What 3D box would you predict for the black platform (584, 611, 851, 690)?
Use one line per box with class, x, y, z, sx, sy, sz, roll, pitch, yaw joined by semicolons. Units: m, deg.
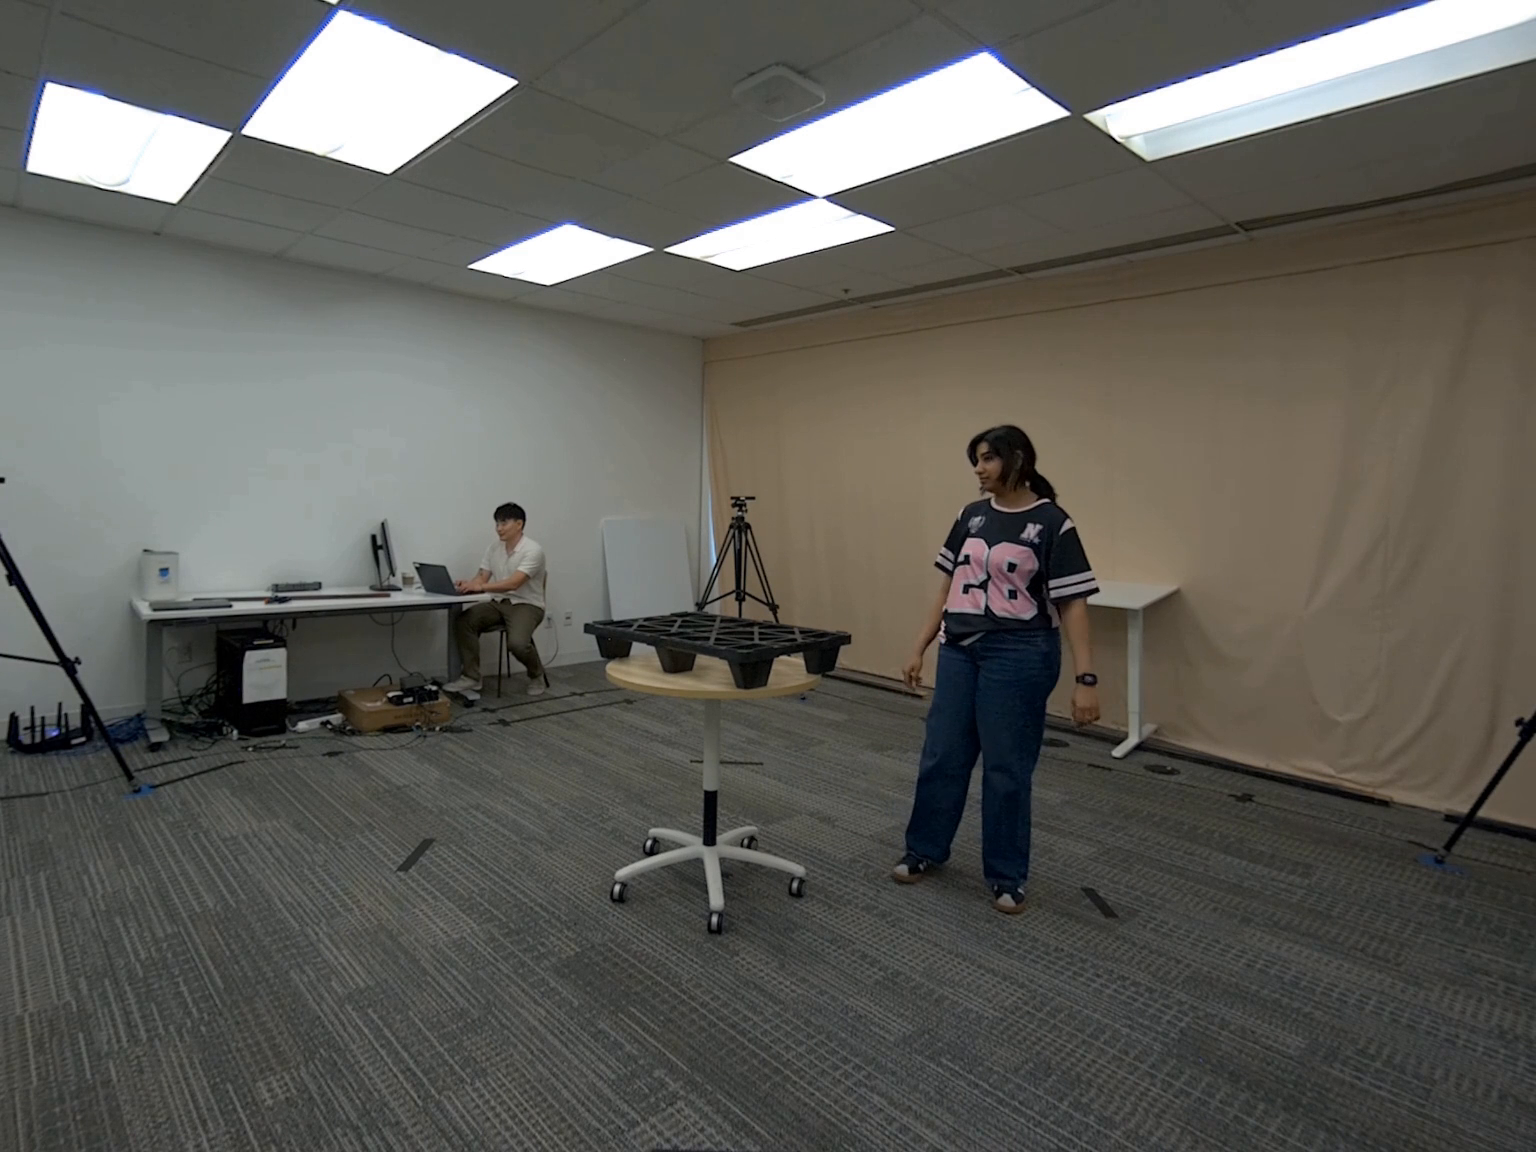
black platform;-0.195;0.259;3.068;0.826;0.143;0.591;6;6;42
